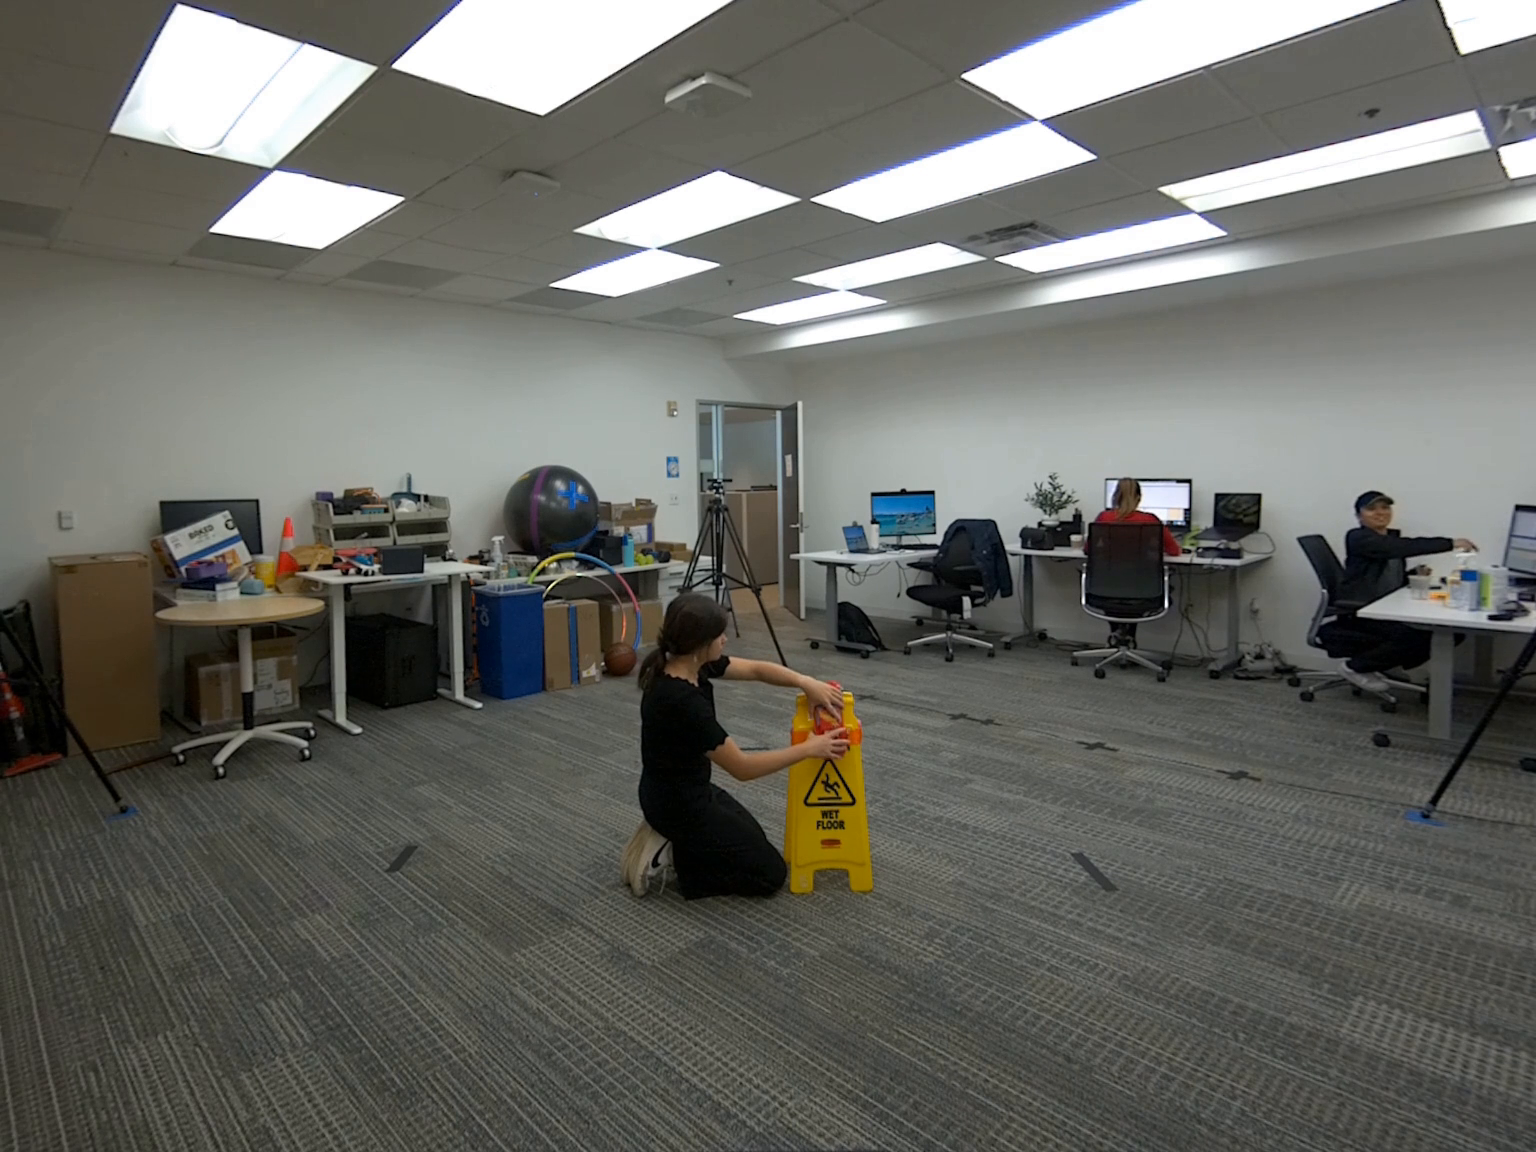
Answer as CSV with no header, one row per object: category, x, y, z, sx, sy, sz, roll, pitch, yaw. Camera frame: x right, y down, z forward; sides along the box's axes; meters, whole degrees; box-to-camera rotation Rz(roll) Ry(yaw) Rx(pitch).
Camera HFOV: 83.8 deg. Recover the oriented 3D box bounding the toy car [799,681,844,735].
toy car,0.193,0.494,2.900,0.129,0.260,0.082,-2,-21,-7
